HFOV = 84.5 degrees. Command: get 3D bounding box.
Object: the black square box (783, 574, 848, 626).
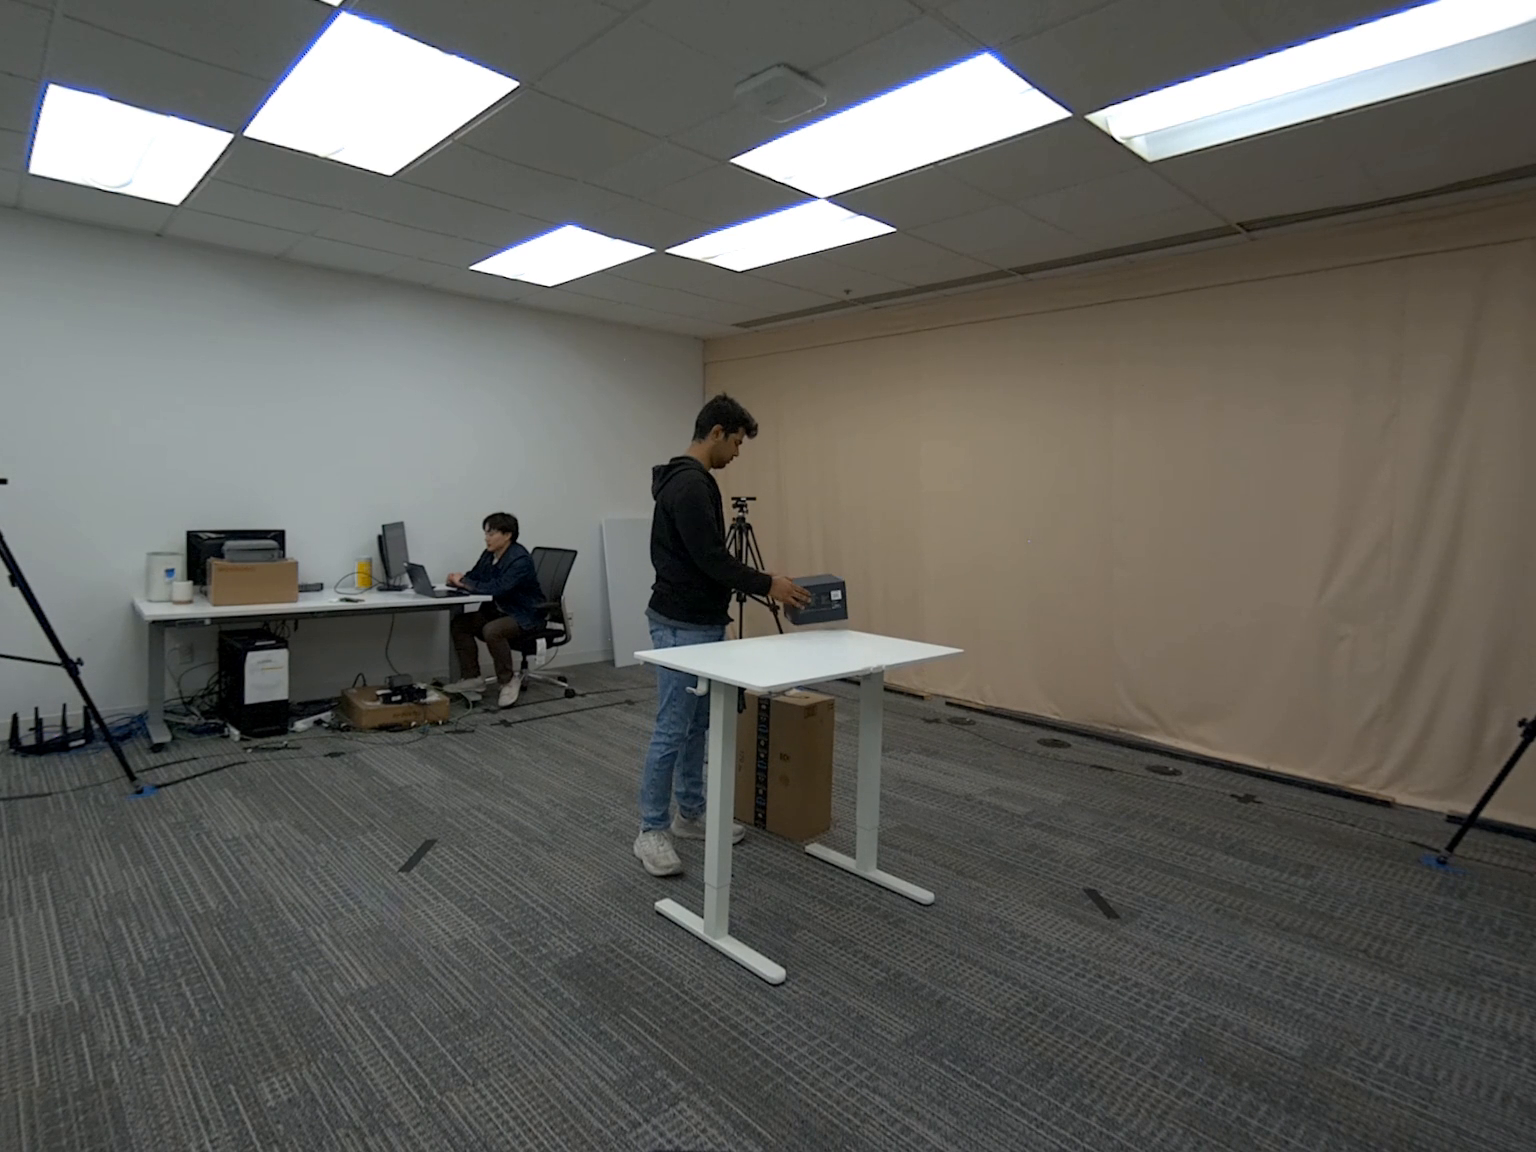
[{"bbox_3d":[0.175,0.099,3.404,0.216,0.155,0.230,-6,8,-4],"label":"black square box"}]
